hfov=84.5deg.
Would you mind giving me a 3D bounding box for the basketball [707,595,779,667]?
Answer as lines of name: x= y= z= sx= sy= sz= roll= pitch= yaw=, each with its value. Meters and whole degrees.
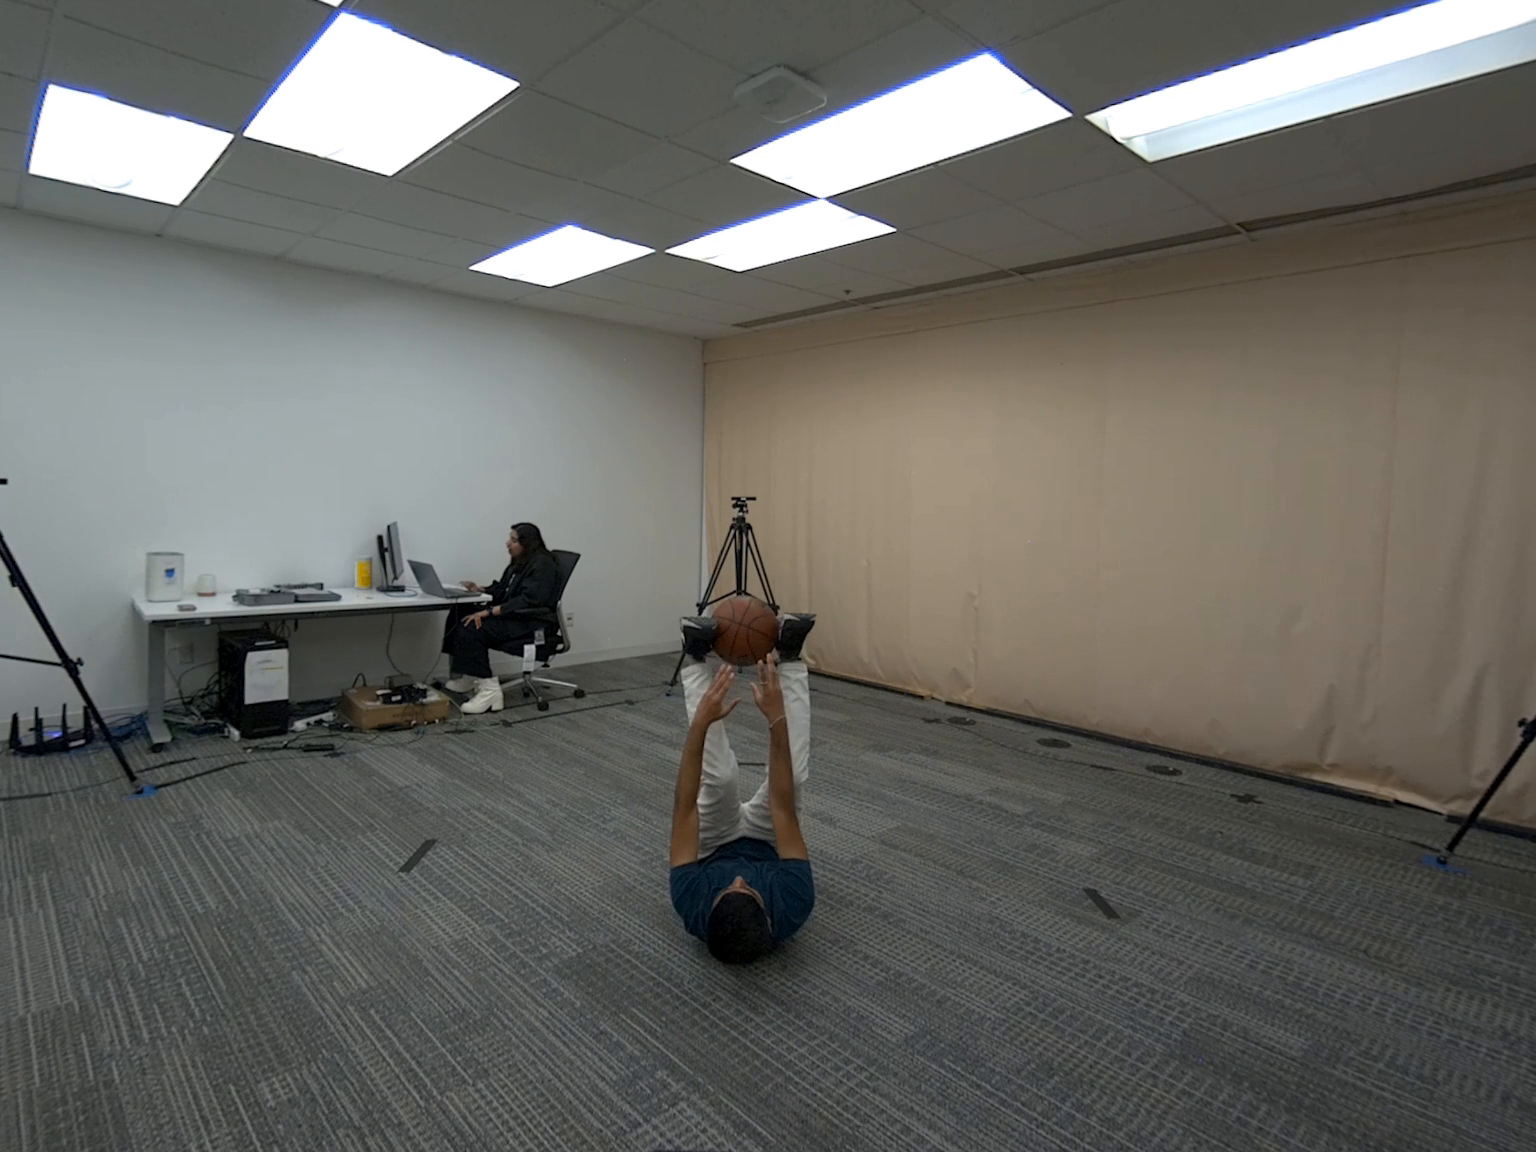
basketball: x=-0.084 y=0.185 z=2.853 sx=0.236 sy=0.235 sz=0.237 roll=1 pitch=4 yaw=-1
